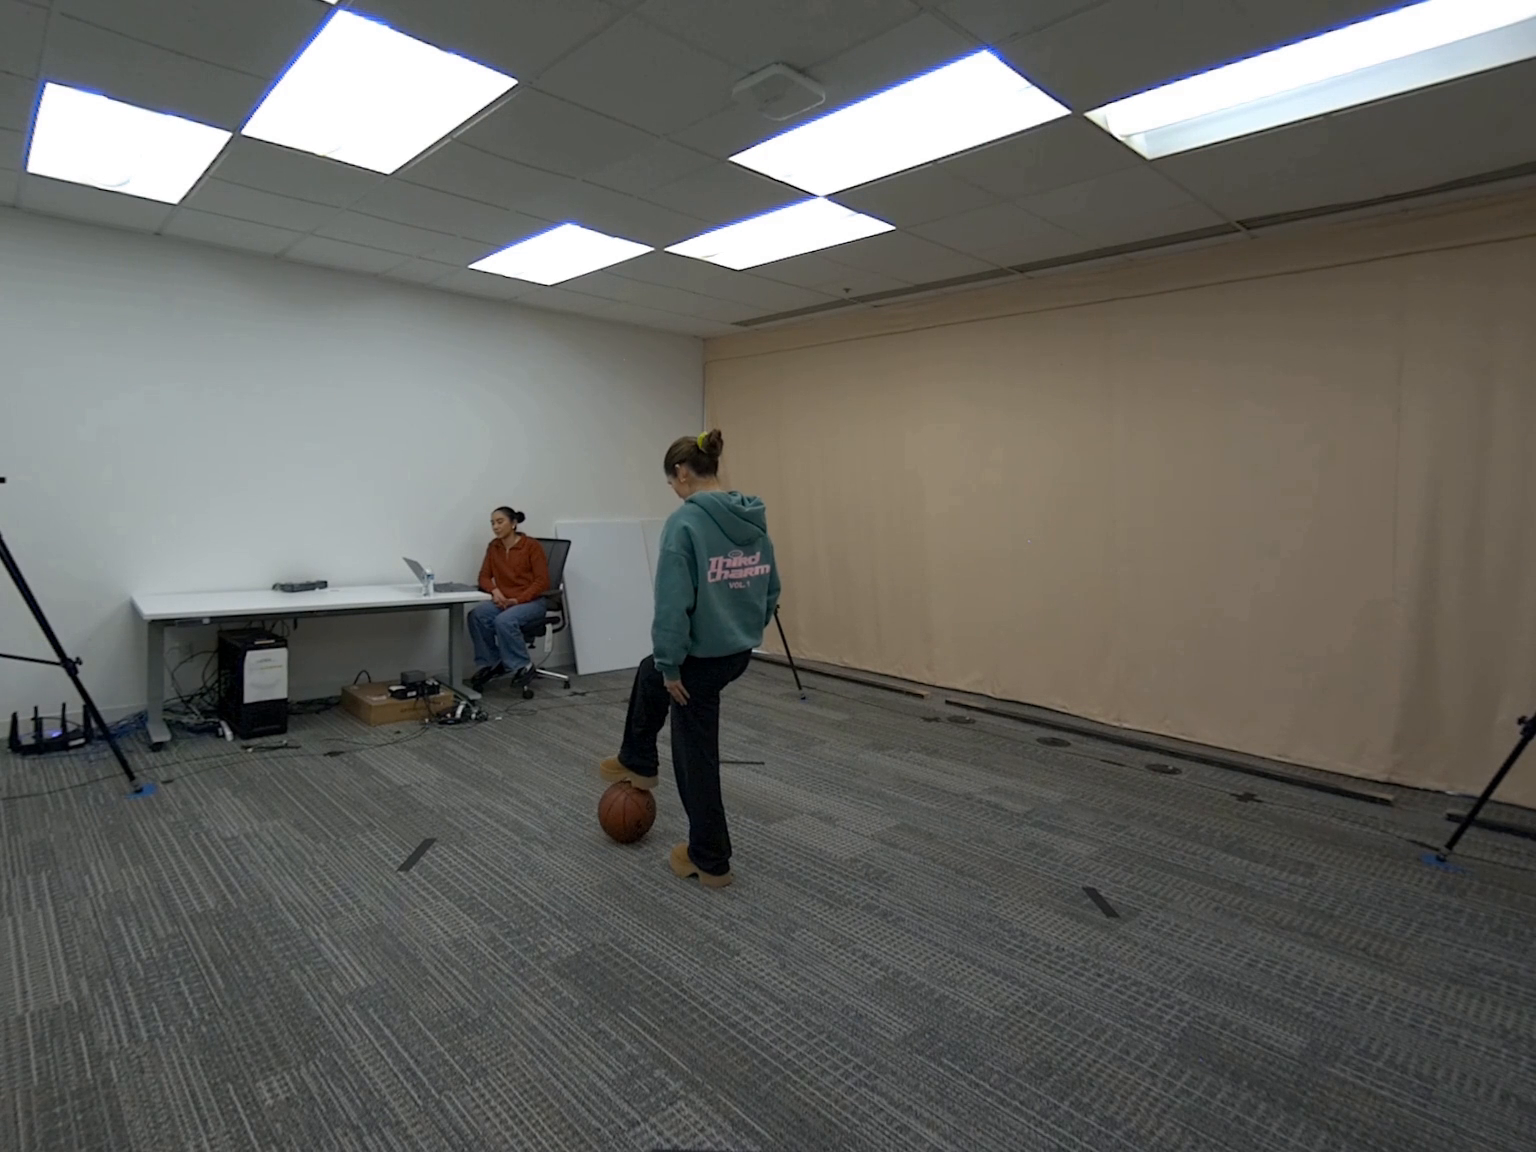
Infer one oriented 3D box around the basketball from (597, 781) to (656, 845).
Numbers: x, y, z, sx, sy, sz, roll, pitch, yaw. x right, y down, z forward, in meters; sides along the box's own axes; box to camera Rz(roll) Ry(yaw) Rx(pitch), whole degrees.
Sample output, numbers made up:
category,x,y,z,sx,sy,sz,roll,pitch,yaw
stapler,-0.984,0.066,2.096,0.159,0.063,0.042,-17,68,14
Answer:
category,x,y,z,sx,sy,sz,roll,pitch,yaw
basketball,-0.573,0.947,3.395,0.236,0.235,0.237,1,4,-1
